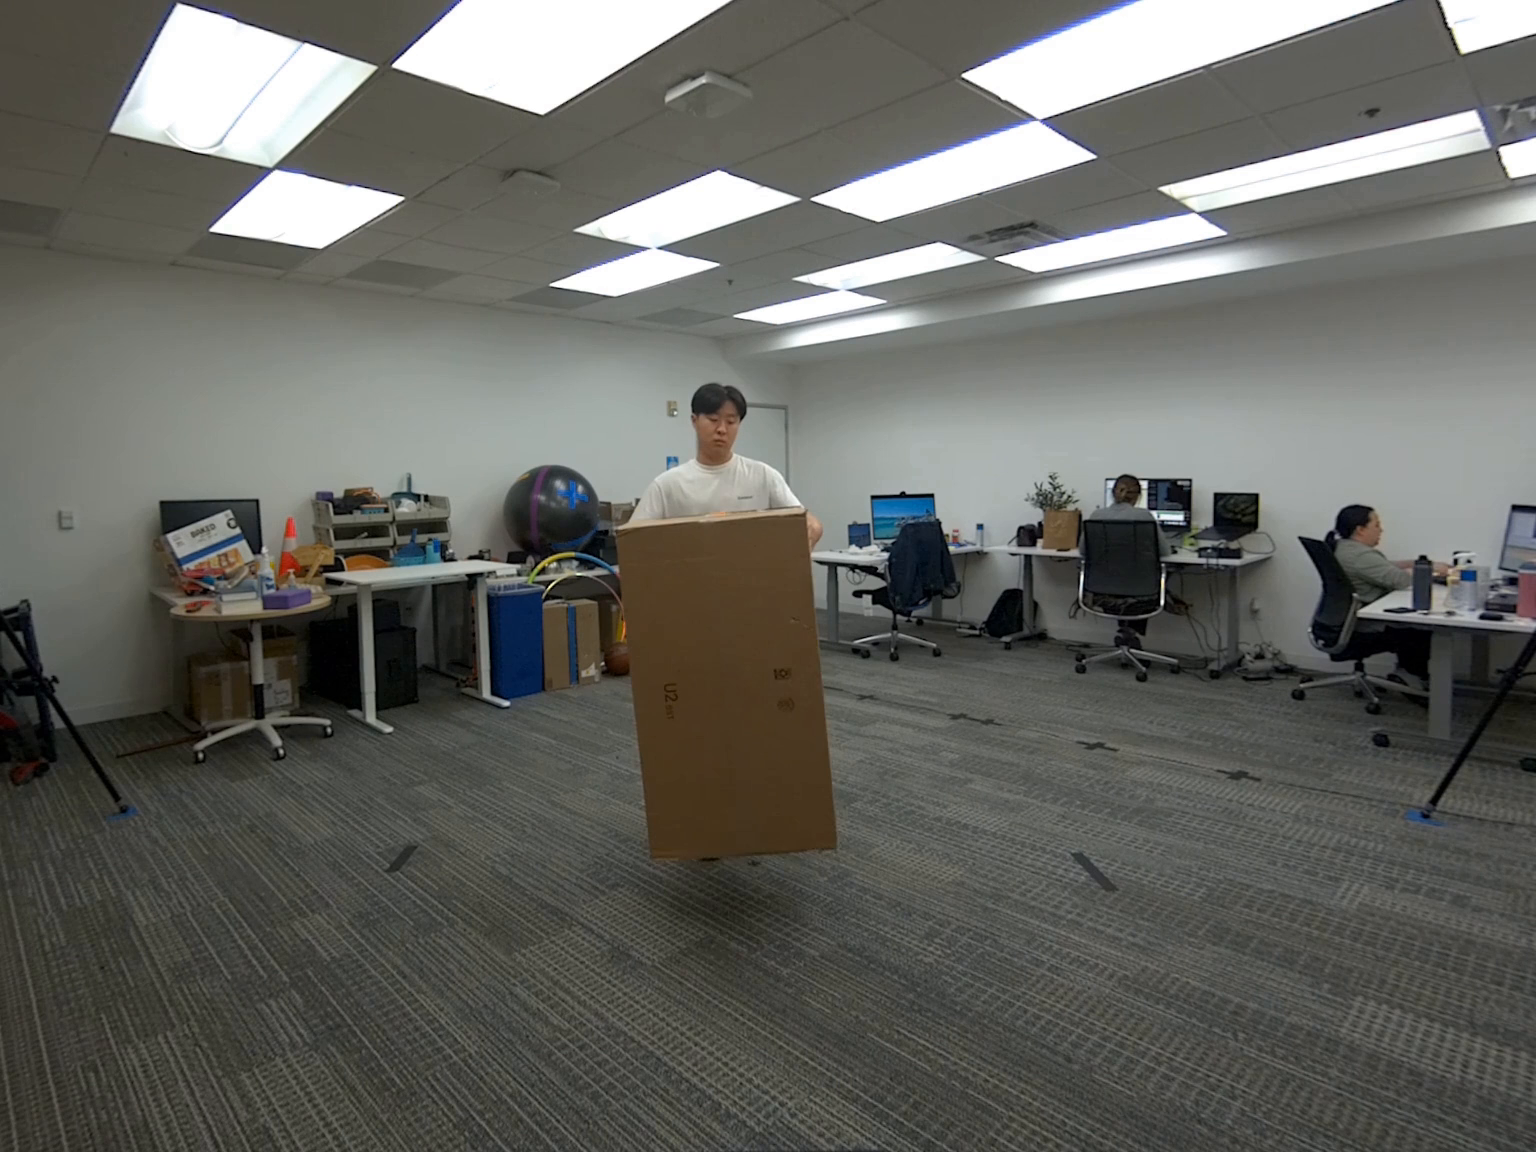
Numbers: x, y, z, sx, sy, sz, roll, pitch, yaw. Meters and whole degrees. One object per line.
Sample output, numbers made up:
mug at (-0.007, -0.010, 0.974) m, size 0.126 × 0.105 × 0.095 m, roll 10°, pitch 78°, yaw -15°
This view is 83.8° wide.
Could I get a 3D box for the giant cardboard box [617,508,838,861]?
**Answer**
giant cardboard box at (-0.116, 0.324, 2.754) m, size 0.579 × 1.022 × 0.427 m, roll -6°, pitch 4°, yaw 2°
